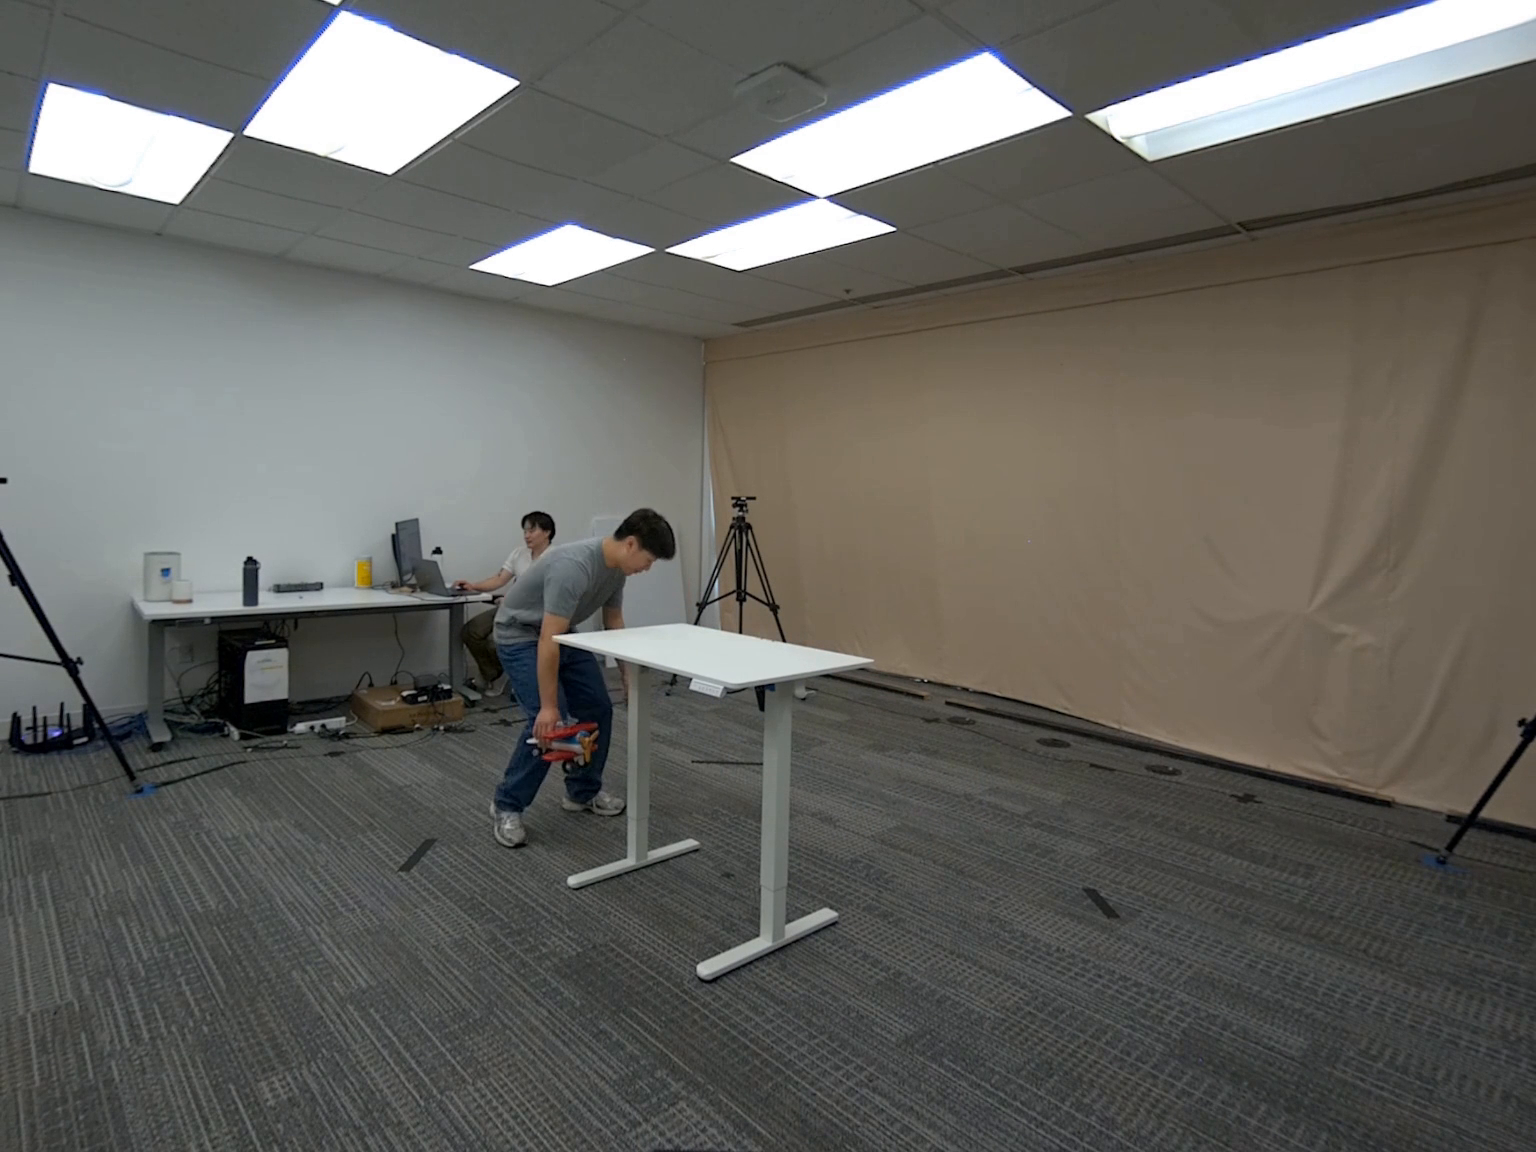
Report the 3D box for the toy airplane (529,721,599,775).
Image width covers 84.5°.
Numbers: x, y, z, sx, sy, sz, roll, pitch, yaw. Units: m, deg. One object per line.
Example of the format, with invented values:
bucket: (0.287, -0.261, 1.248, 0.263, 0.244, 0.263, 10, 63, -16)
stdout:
toy airplane: (-0.762, 0.618, 3.081, 0.259, 0.156, 0.252, 11, 6, 0)
